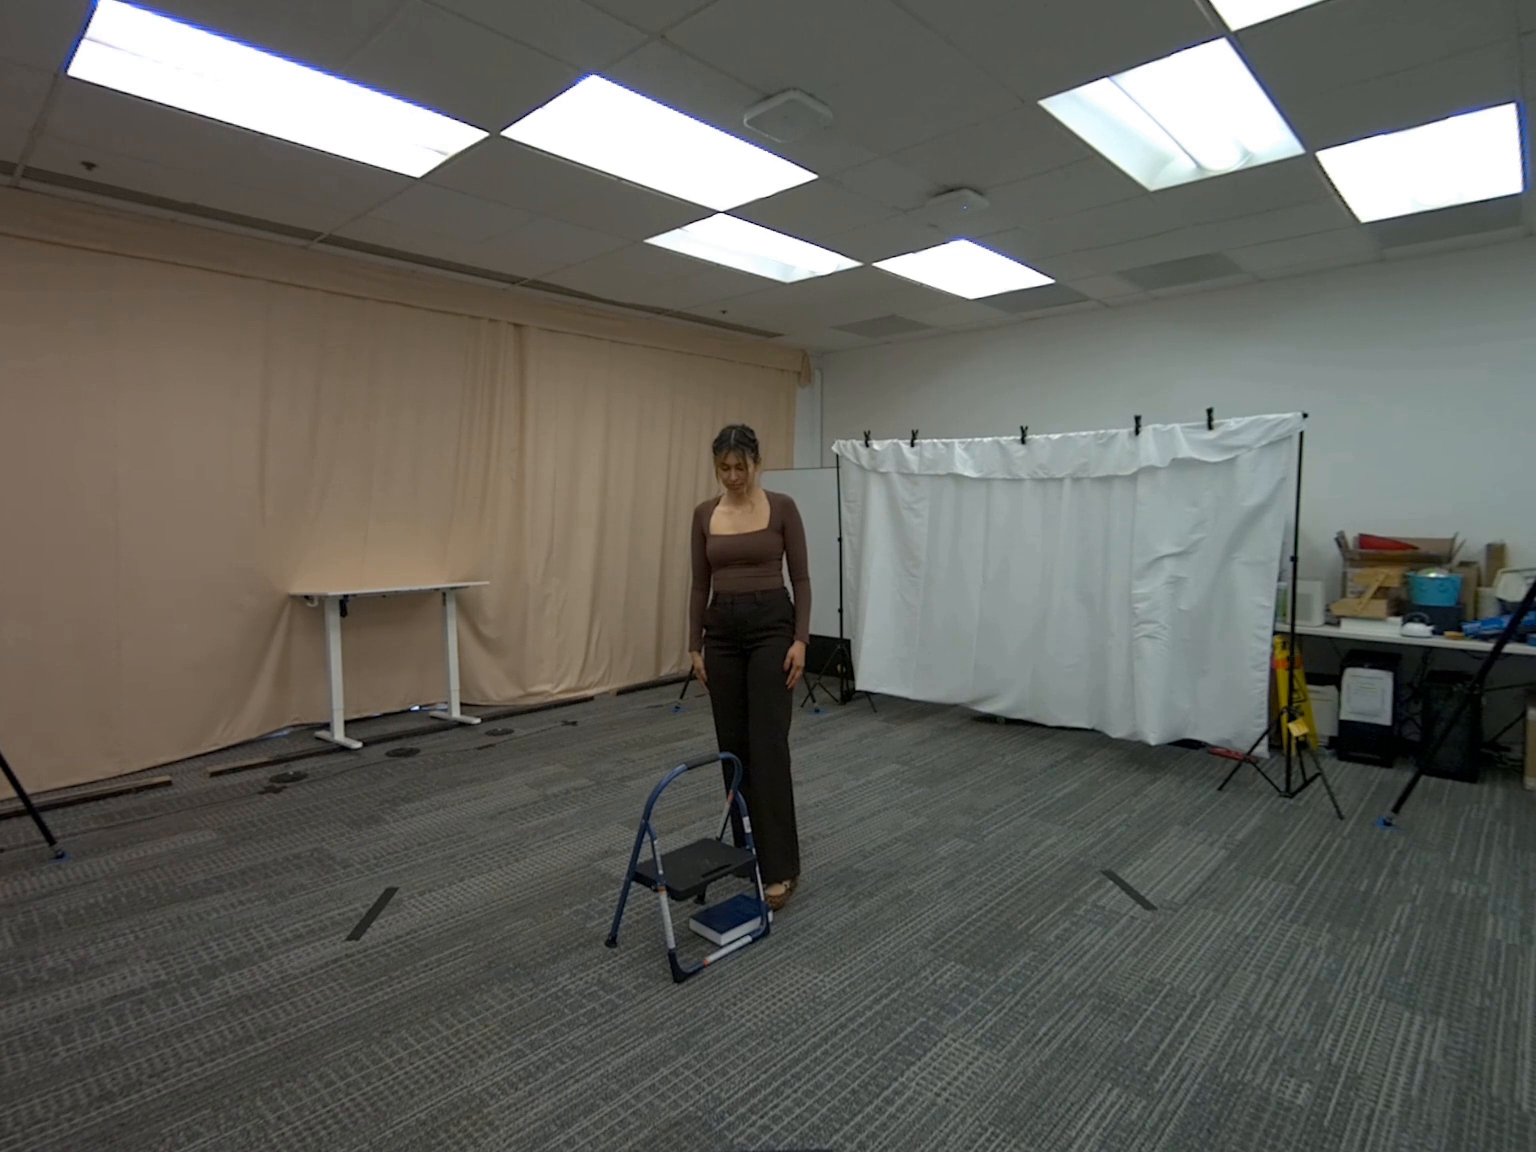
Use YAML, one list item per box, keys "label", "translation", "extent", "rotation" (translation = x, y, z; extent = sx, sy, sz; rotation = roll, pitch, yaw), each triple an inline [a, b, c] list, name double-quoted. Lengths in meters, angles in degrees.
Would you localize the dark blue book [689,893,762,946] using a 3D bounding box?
- label: "dark blue book"
  translation: [-0.118, 1.134, 2.795]
  extent: [0.237, 0.045, 0.169]
  rotation: [-4, 7, -45]
